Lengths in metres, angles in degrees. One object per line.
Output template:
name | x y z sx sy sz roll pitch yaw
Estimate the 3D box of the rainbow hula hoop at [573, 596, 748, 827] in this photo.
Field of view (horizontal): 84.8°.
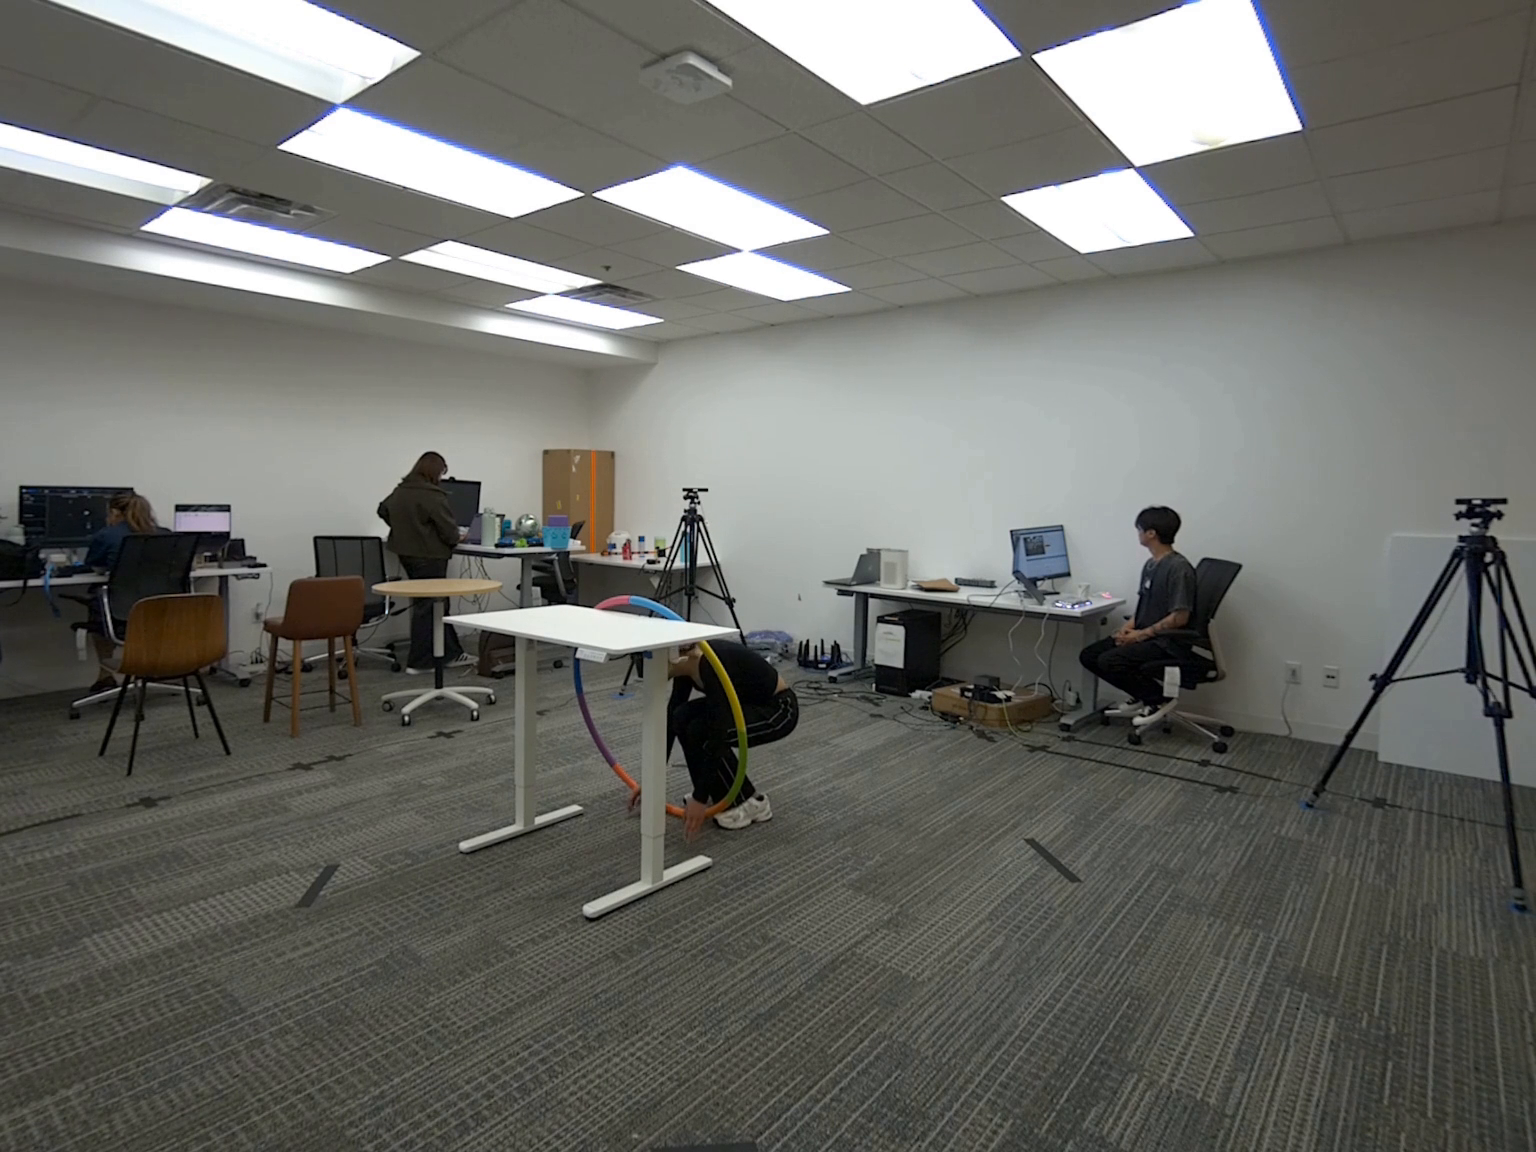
rainbow hula hoop | -0.485 0.551 3.534 1.012 0.963 0.035 5 19 40
